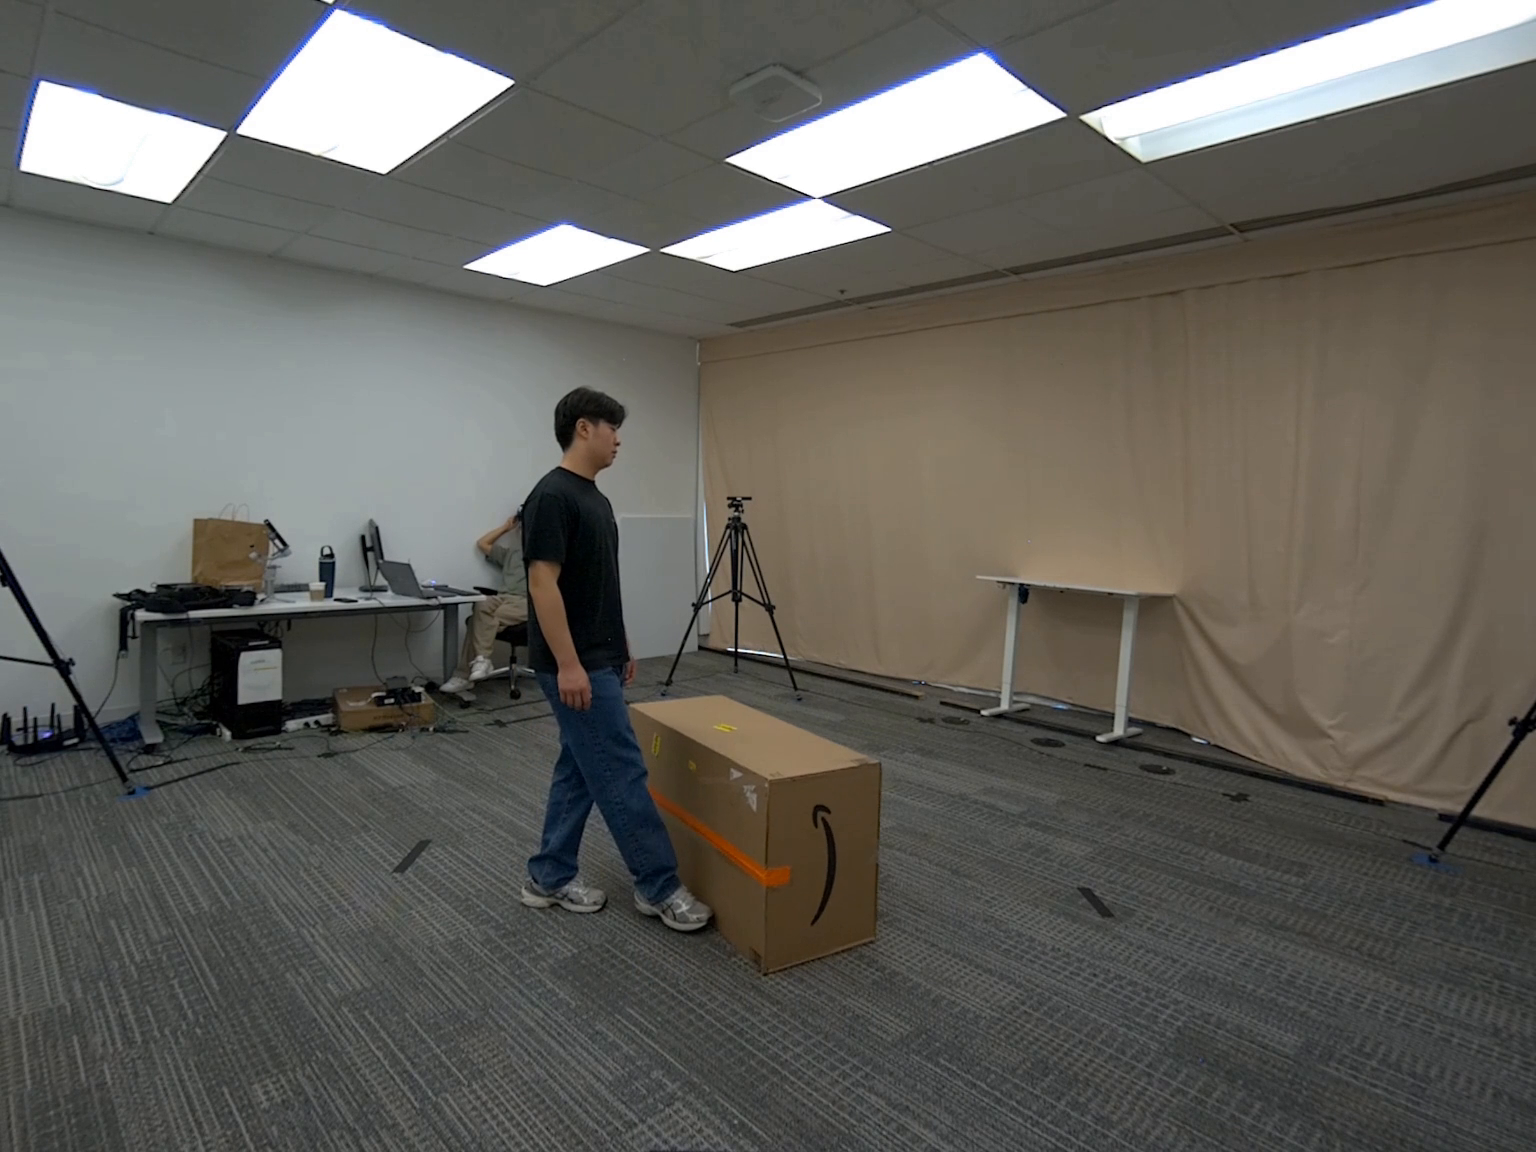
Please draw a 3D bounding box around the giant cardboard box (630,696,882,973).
[{"bbox_3d":[-0.110,0.833,2.982,0.438,0.582,1.051,-2,5,-32],"label":"giant cardboard box"}]
